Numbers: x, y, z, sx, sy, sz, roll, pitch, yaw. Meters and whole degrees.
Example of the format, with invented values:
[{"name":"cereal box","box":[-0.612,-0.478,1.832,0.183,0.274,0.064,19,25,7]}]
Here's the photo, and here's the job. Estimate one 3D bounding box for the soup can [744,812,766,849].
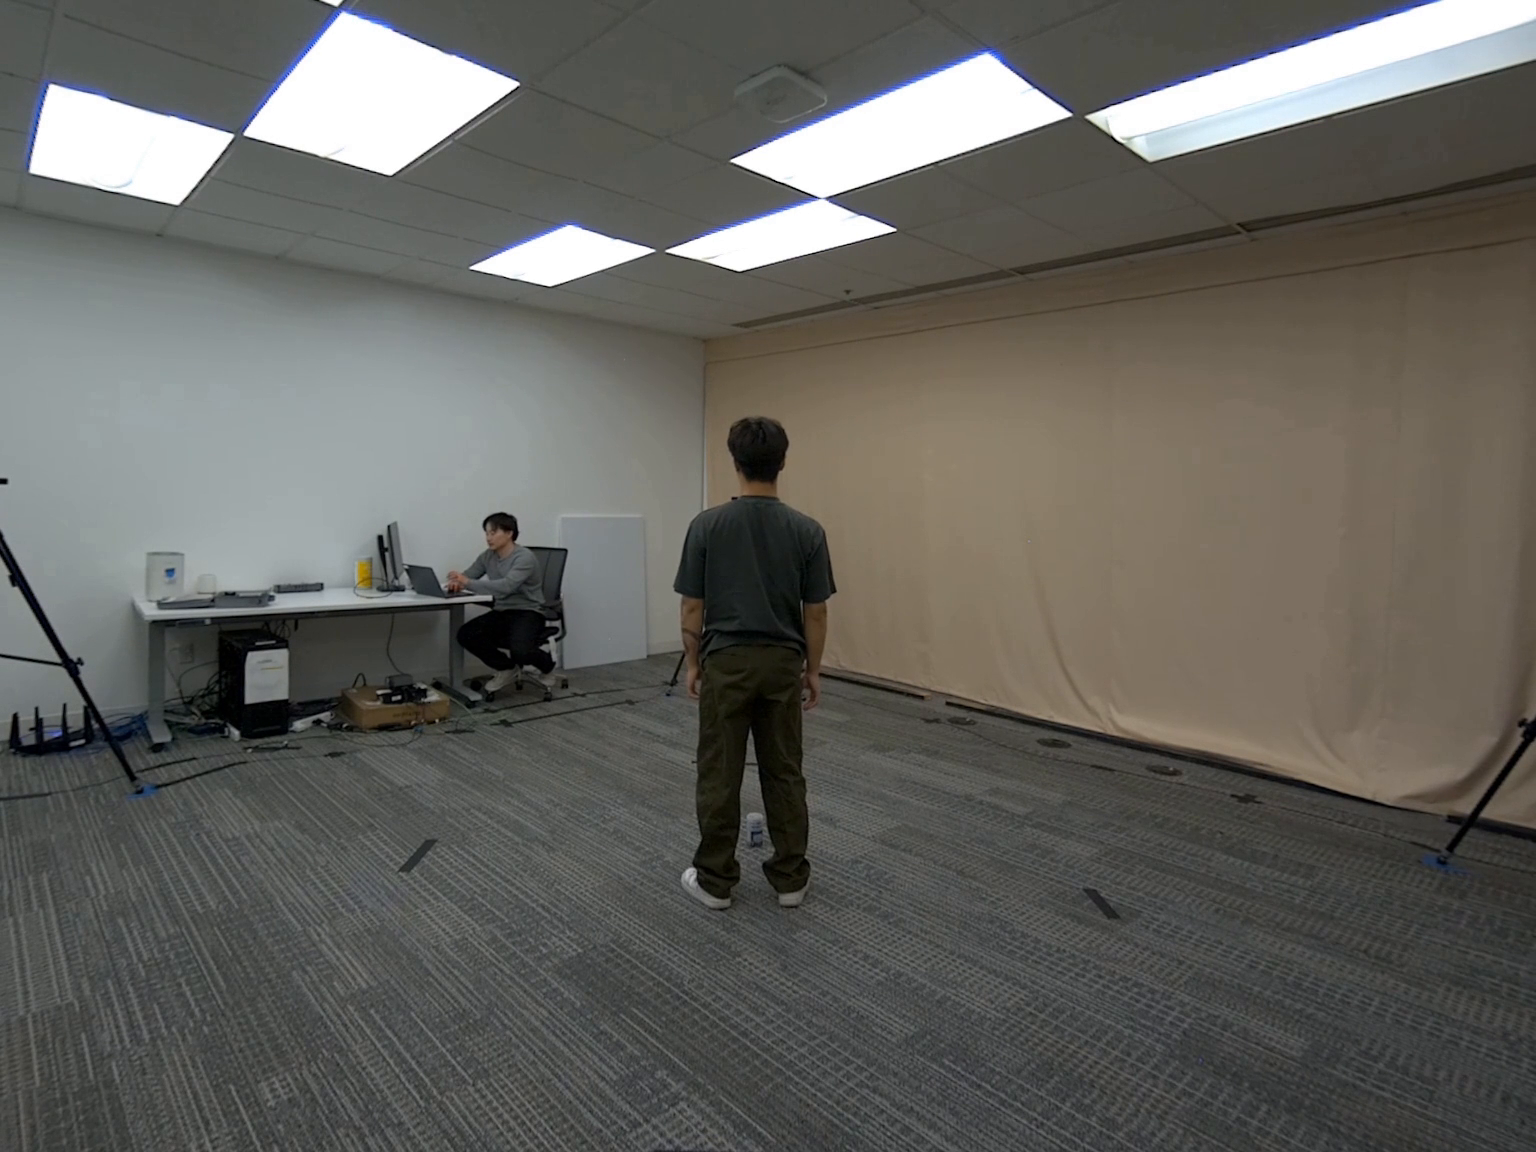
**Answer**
[{"name":"soup can","box":[-0.063,1.020,3.385,0.067,0.121,0.067,0,5,-1]}]
